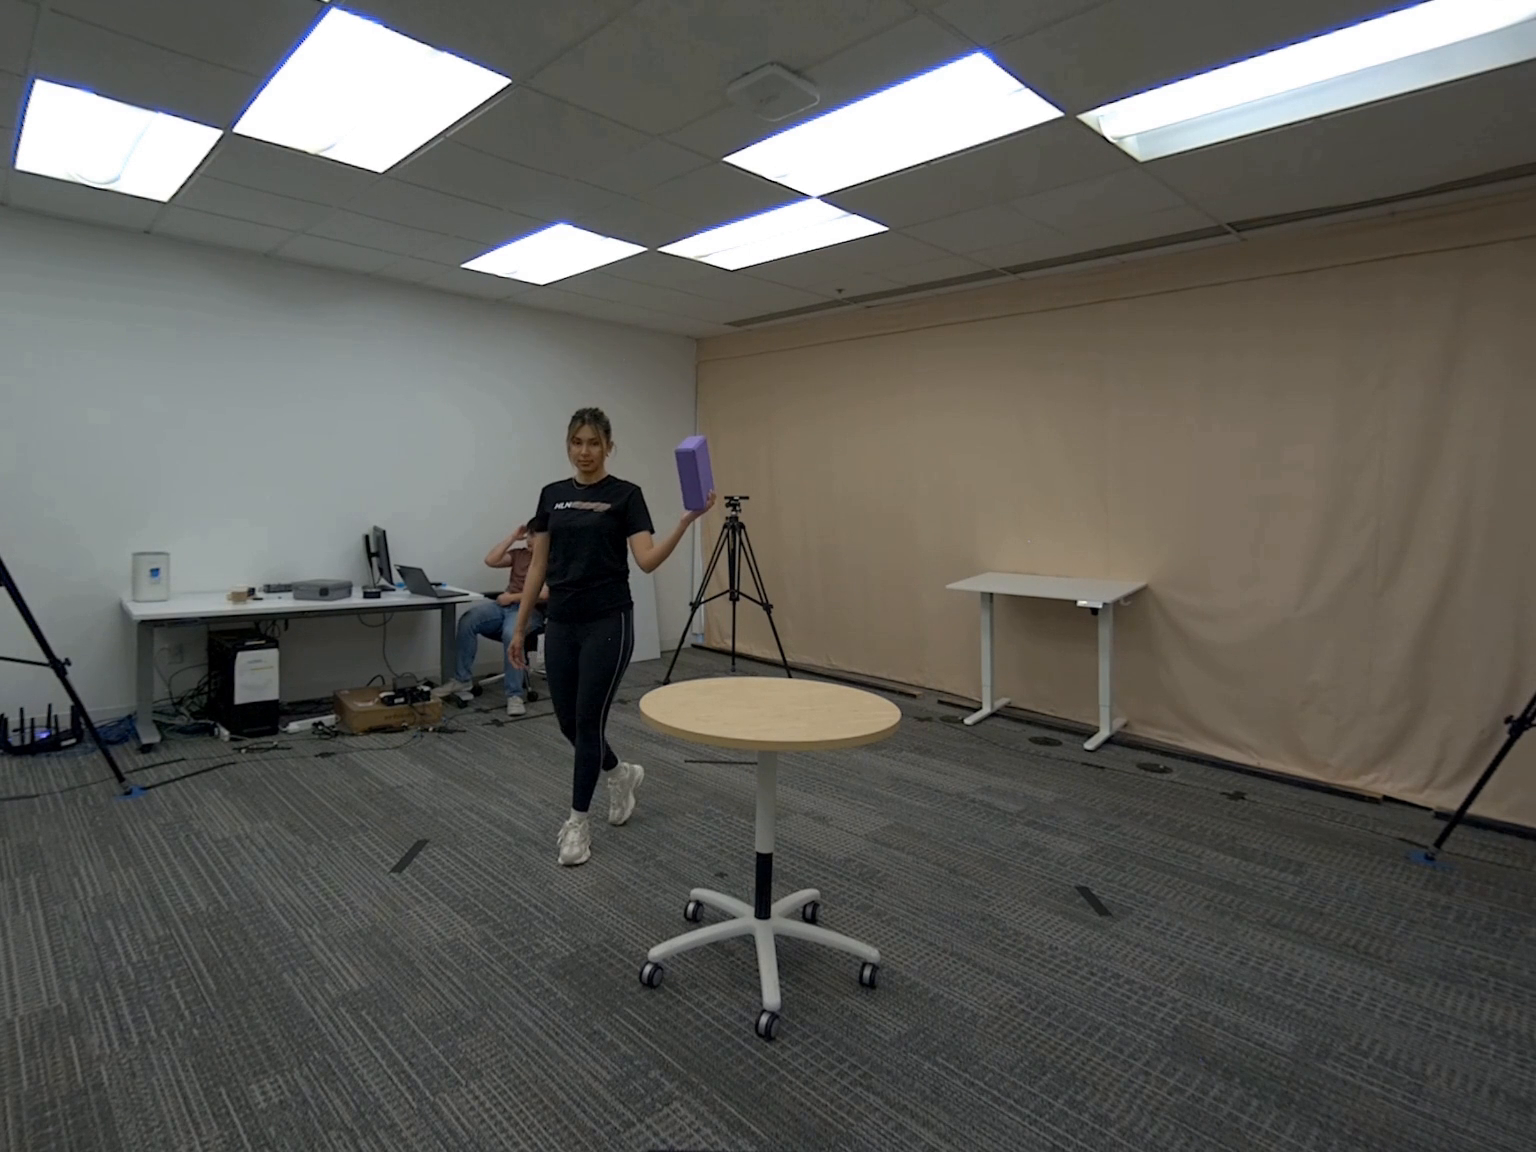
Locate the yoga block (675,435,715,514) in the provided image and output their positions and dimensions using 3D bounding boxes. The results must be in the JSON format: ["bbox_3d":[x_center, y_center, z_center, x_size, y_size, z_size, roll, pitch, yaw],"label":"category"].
[{"bbox_3d":[-0.256,-0.365,2.978,0.077,0.225,0.150,-1,24,14],"label":"yoga block"}]
